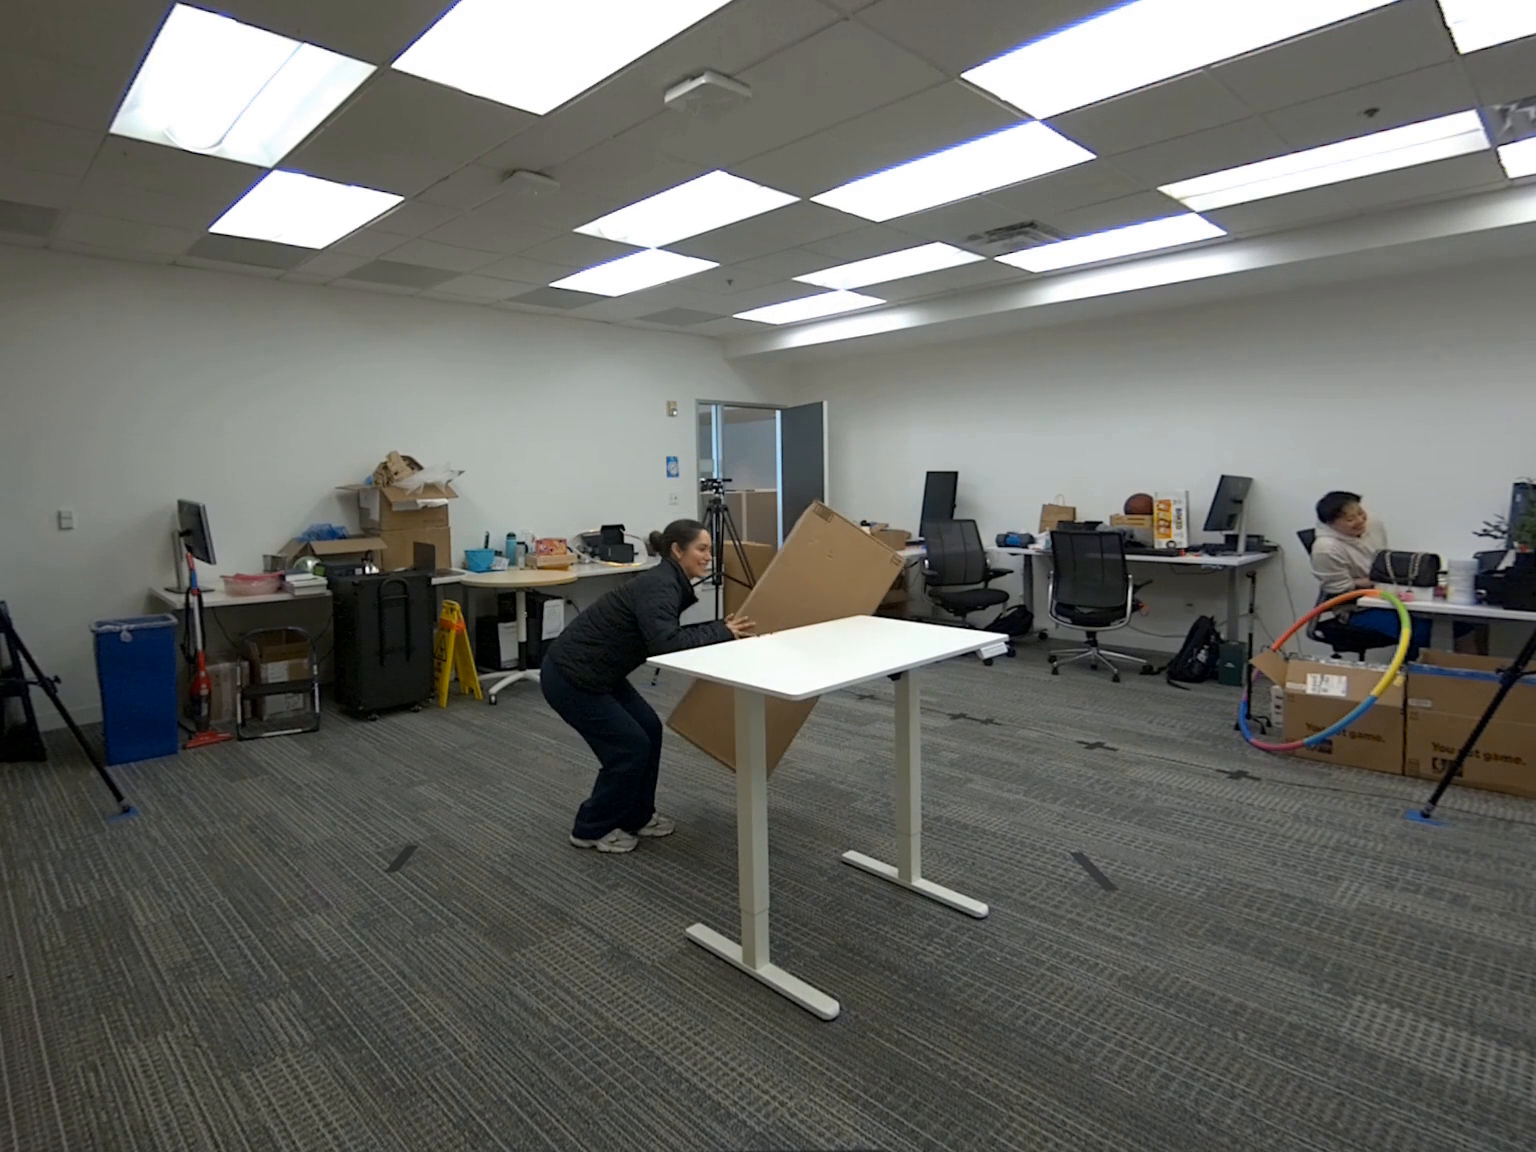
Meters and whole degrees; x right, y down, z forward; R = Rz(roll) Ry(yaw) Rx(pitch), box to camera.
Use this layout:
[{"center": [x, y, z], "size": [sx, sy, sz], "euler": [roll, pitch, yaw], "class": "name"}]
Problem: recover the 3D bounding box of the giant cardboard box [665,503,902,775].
[{"center": [0.061, 0.273, 3.483], "size": [0.428, 1.027, 0.574], "euler": [33, -8, 2], "class": "giant cardboard box"}]
